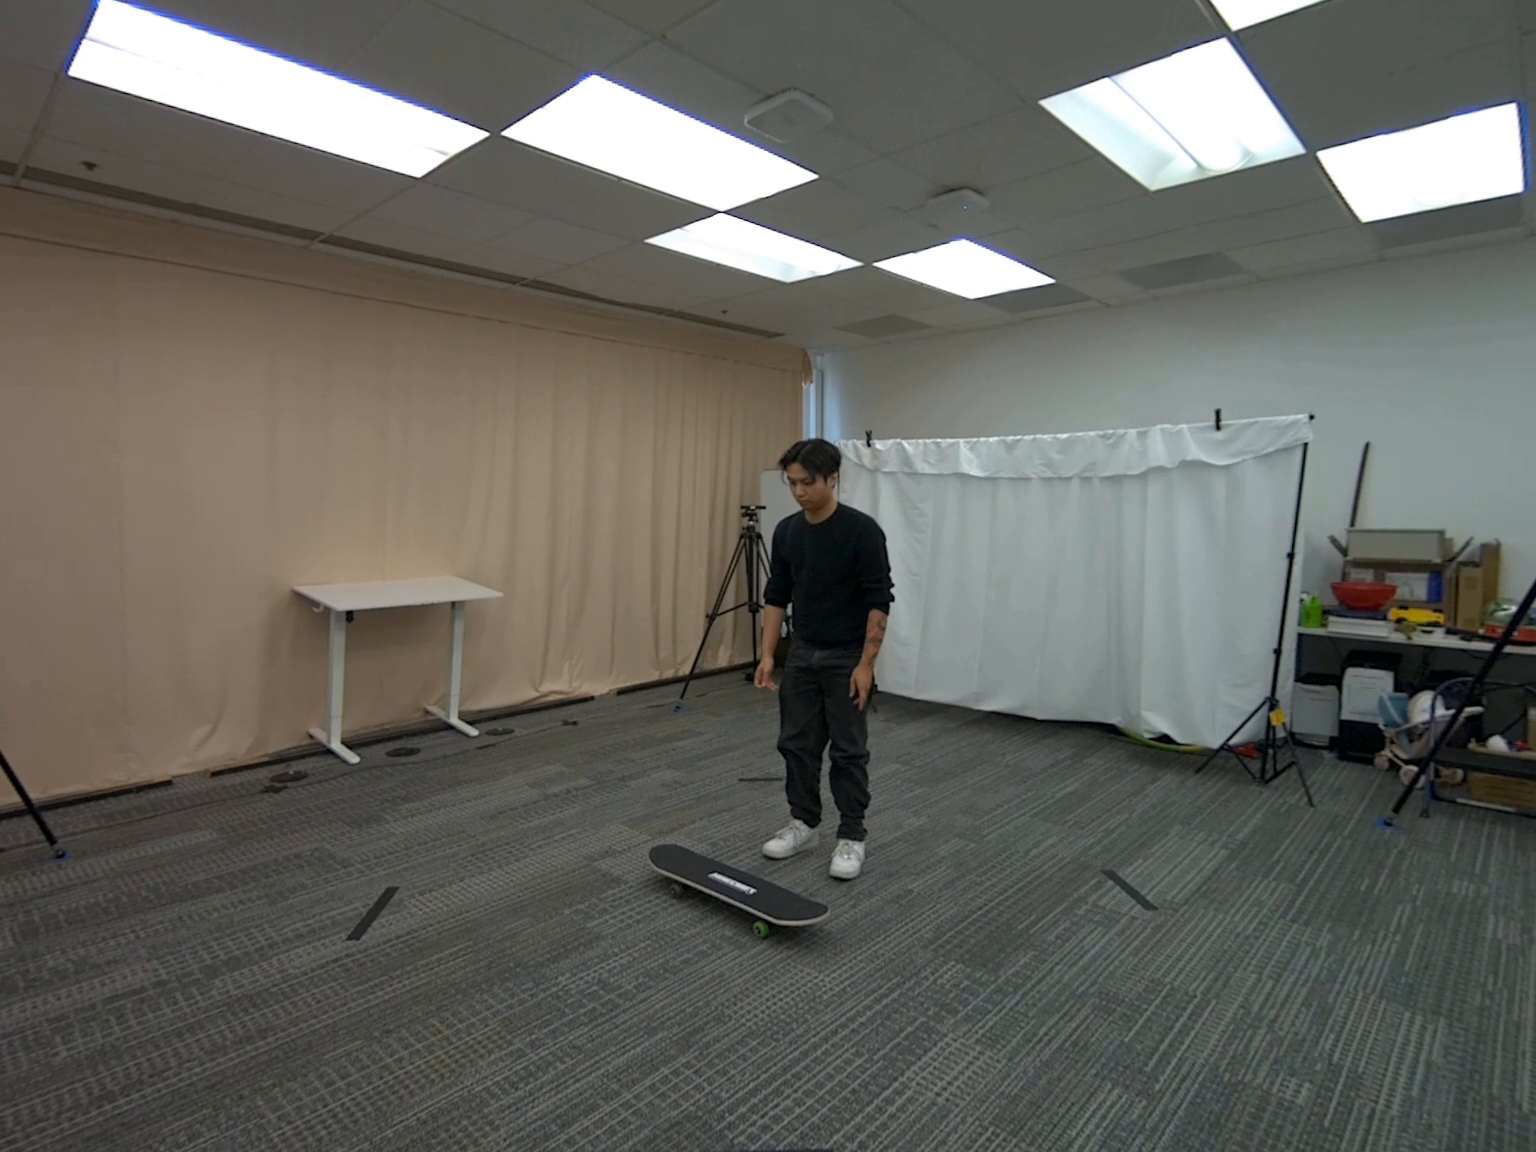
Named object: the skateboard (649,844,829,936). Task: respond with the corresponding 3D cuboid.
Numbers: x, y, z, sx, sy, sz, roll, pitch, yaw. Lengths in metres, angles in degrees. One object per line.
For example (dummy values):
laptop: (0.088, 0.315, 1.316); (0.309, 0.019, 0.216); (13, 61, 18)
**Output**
skateboard: (-0.123, 1.089, 2.909); (0.812, 0.110, 0.187); (4, 6, 42)
